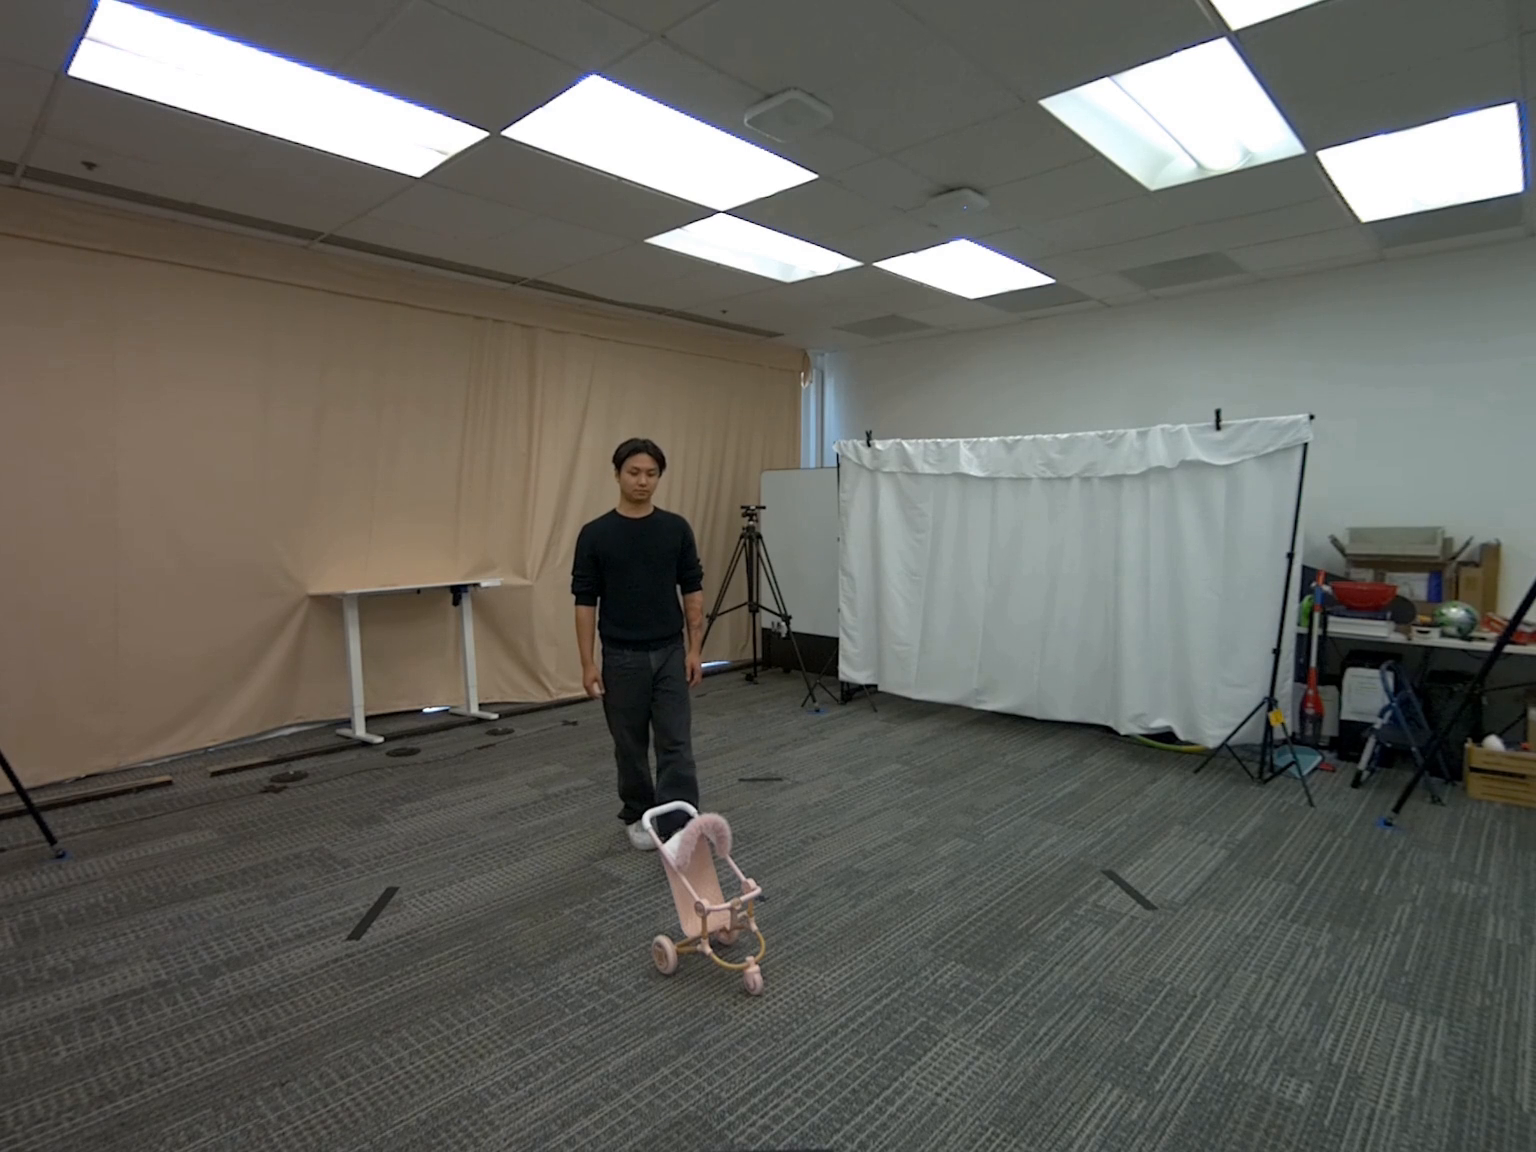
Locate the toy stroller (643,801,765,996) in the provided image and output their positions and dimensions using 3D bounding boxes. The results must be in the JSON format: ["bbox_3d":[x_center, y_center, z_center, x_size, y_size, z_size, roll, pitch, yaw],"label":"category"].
[{"bbox_3d":[-0.175,0.957,2.534,0.273,0.539,0.349,-3,-11,-40],"label":"toy stroller"}]
